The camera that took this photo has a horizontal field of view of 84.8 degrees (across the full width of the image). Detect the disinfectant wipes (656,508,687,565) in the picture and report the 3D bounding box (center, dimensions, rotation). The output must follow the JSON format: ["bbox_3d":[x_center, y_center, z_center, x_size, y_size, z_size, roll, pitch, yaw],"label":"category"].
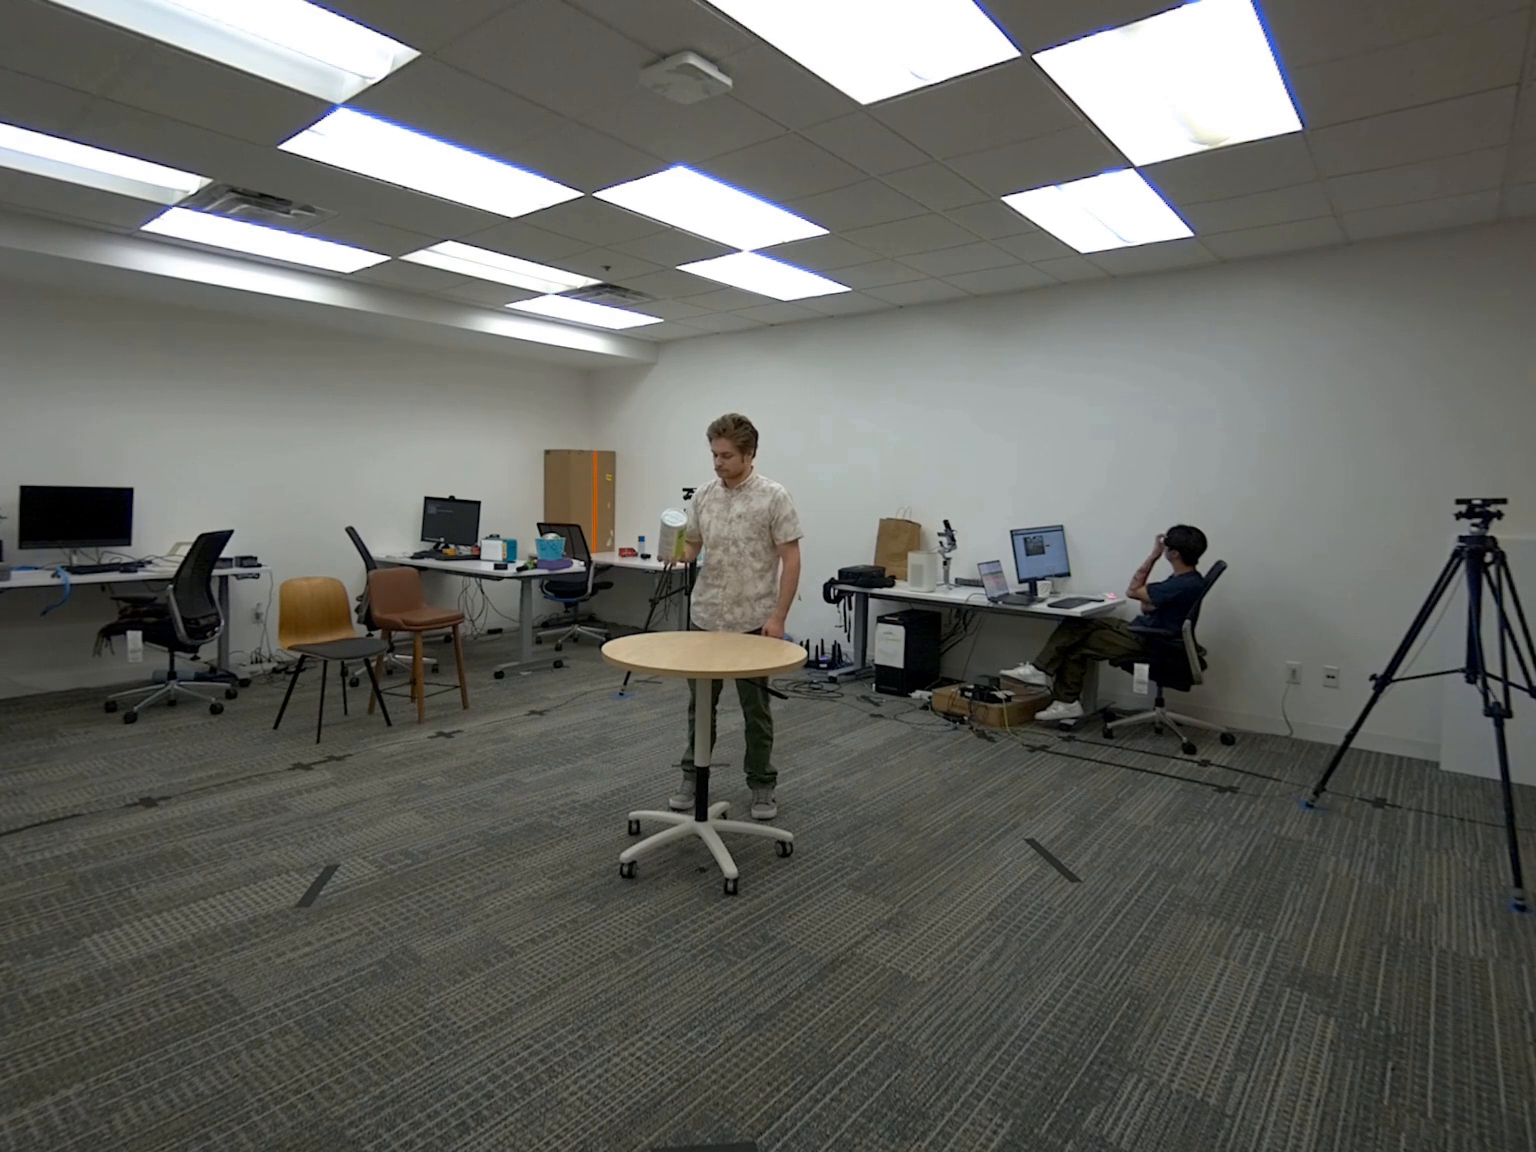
[{"bbox_3d":[-0.410,-0.169,3.491,0.117,0.212,0.121,5,45,-7],"label":"disinfectant wipes"}]
